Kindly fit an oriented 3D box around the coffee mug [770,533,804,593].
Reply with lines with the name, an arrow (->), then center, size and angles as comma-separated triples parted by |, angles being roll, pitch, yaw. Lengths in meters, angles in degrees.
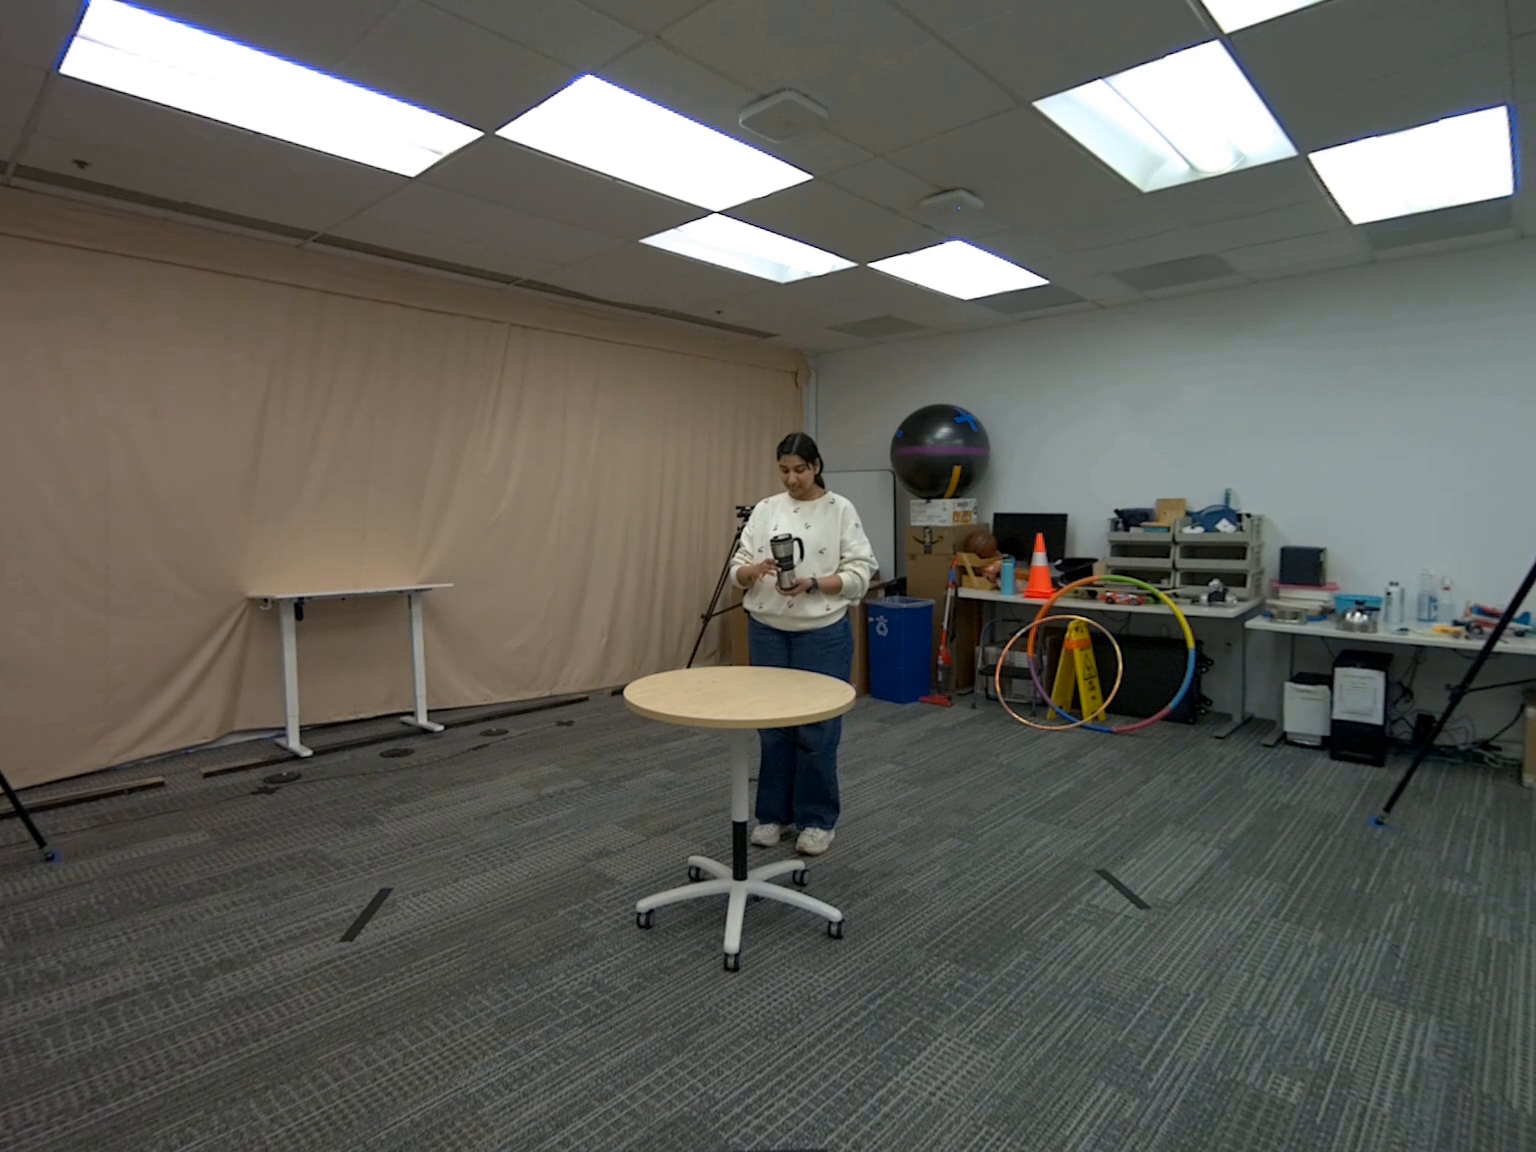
coffee mug -> 0.065, -0.045, 3.136 | 0.088, 0.202, 0.123 | -10, 7, -4
